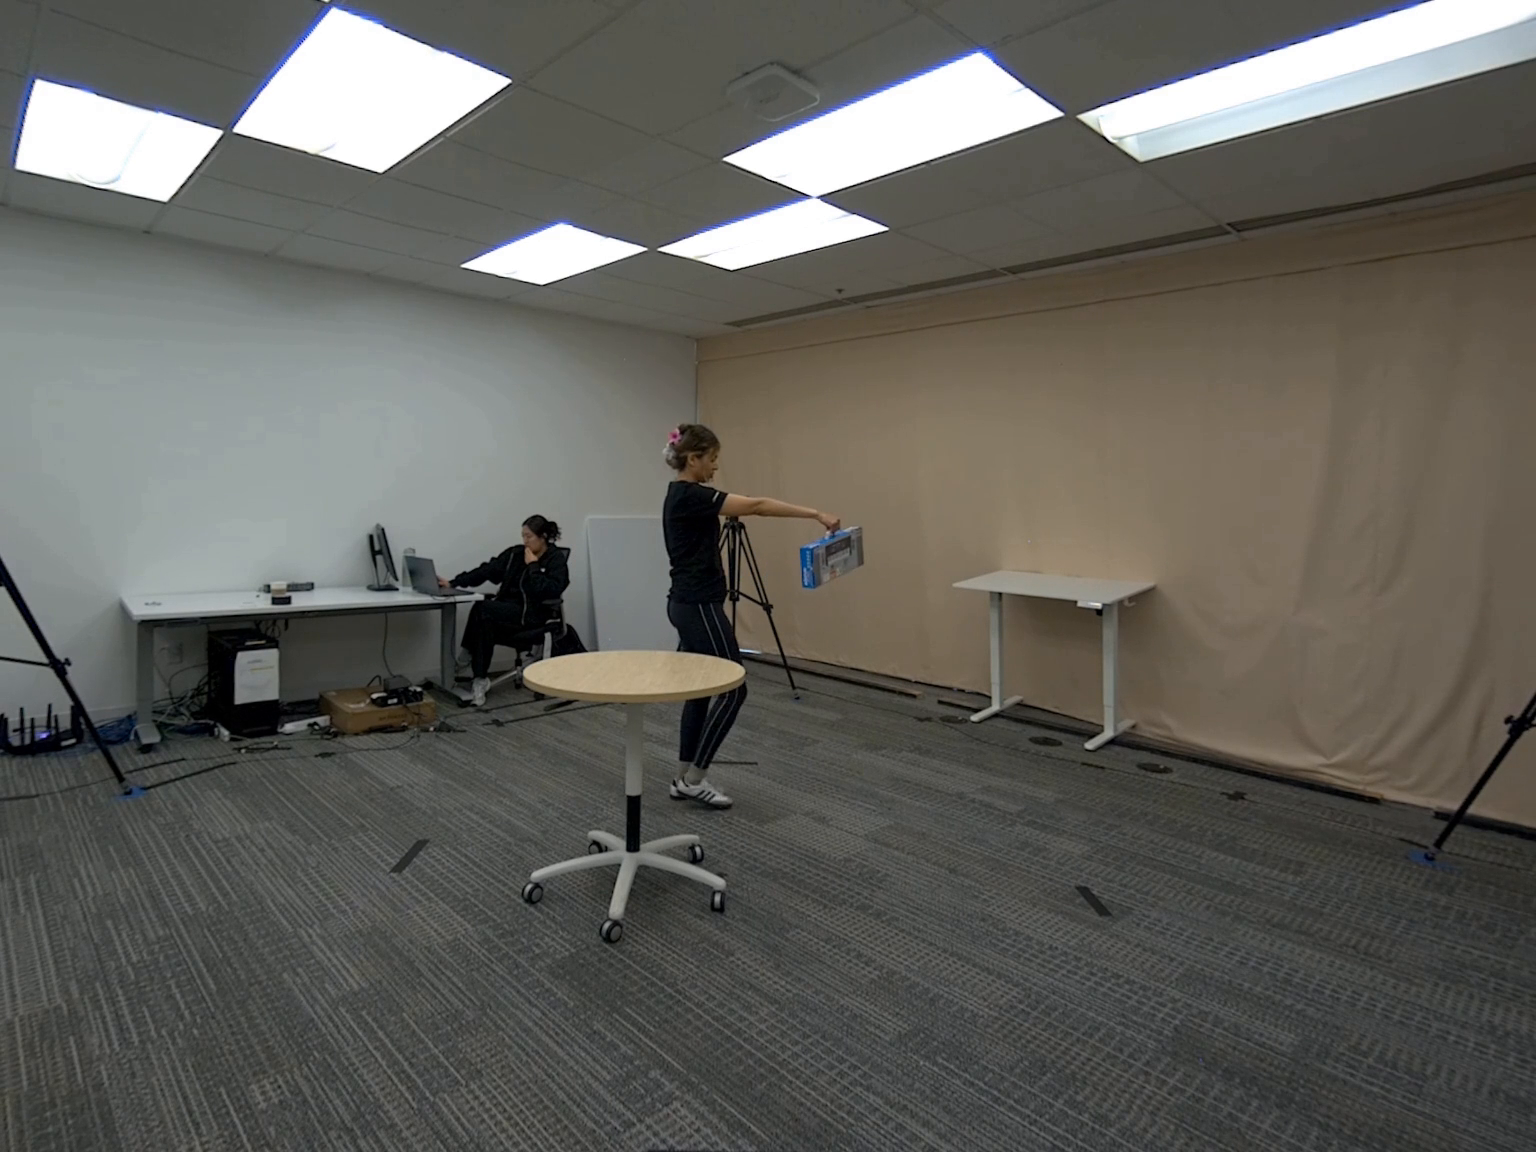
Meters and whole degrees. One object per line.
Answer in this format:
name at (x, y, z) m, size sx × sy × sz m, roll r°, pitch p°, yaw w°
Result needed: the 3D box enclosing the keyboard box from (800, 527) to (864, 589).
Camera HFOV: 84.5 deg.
keyboard box at (0.274, -0.079, 3.607) m, size 0.060 × 0.174 × 0.431 m, roll 3°, pitch 16°, yaw 34°
